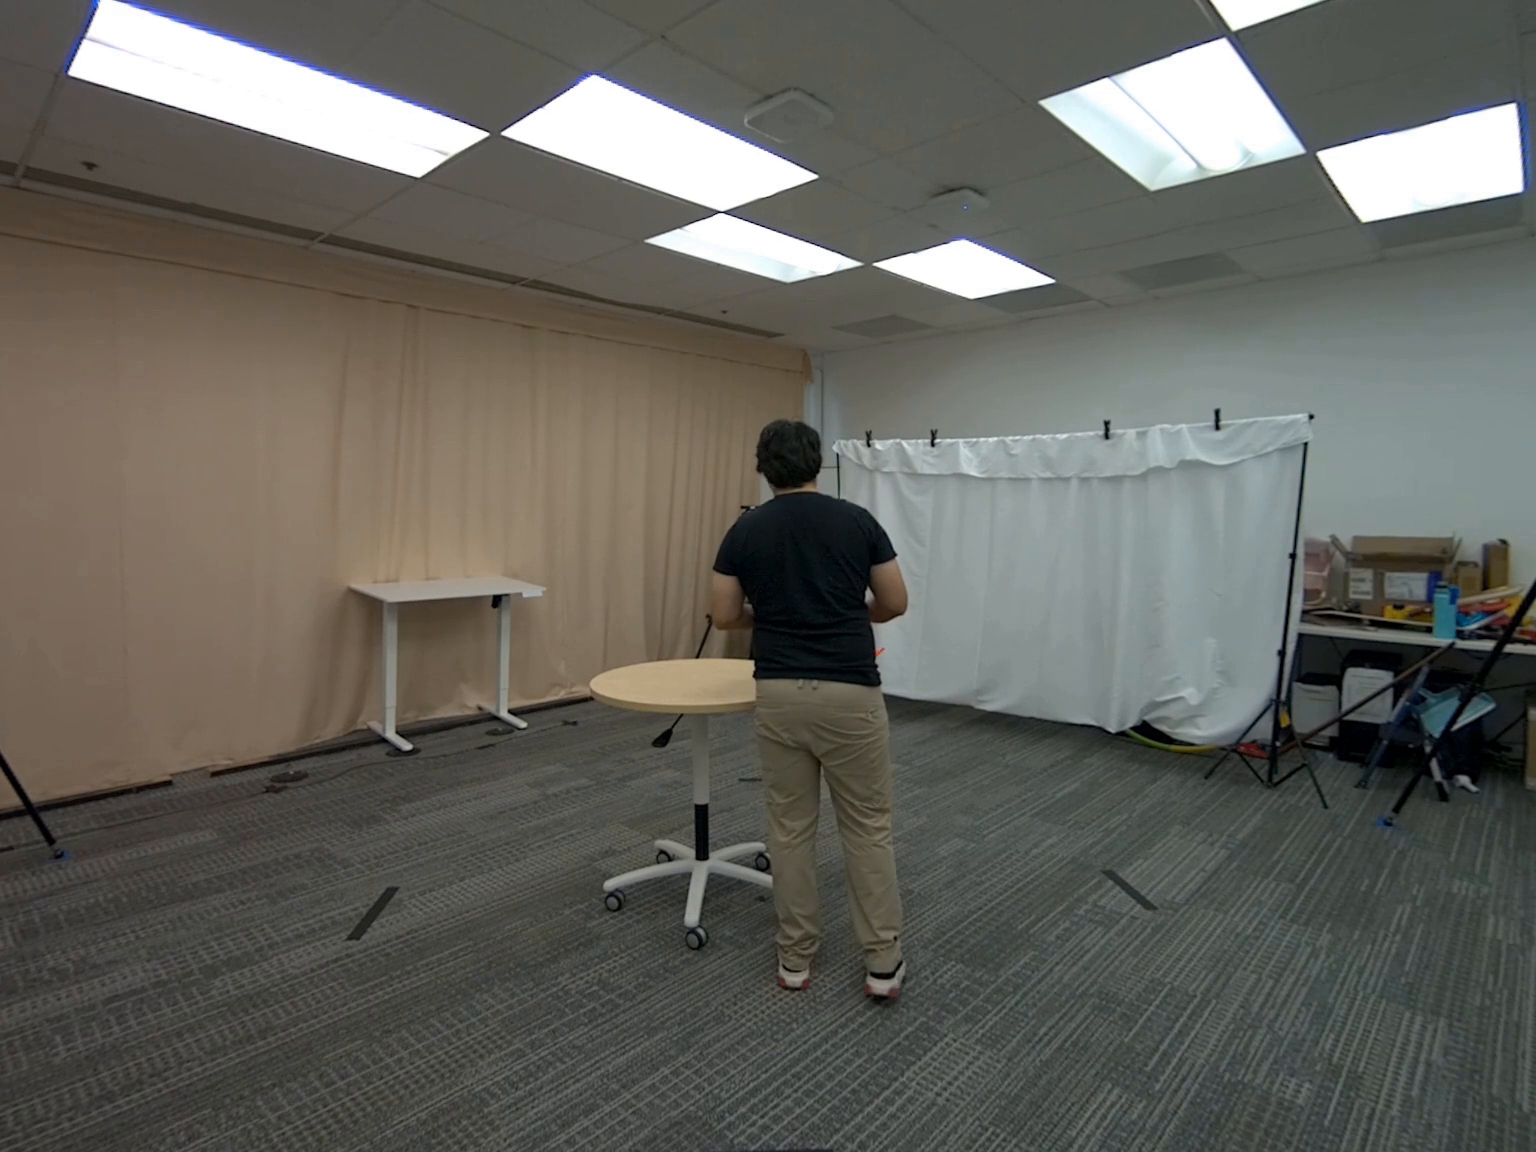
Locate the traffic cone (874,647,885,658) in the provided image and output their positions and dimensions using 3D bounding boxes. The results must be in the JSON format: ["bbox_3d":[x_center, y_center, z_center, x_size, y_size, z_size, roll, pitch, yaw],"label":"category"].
[{"bbox_3d":[0.200,0.166,2.768,0.203,0.390,0.201,-41,-13,2],"label":"traffic cone"}]
